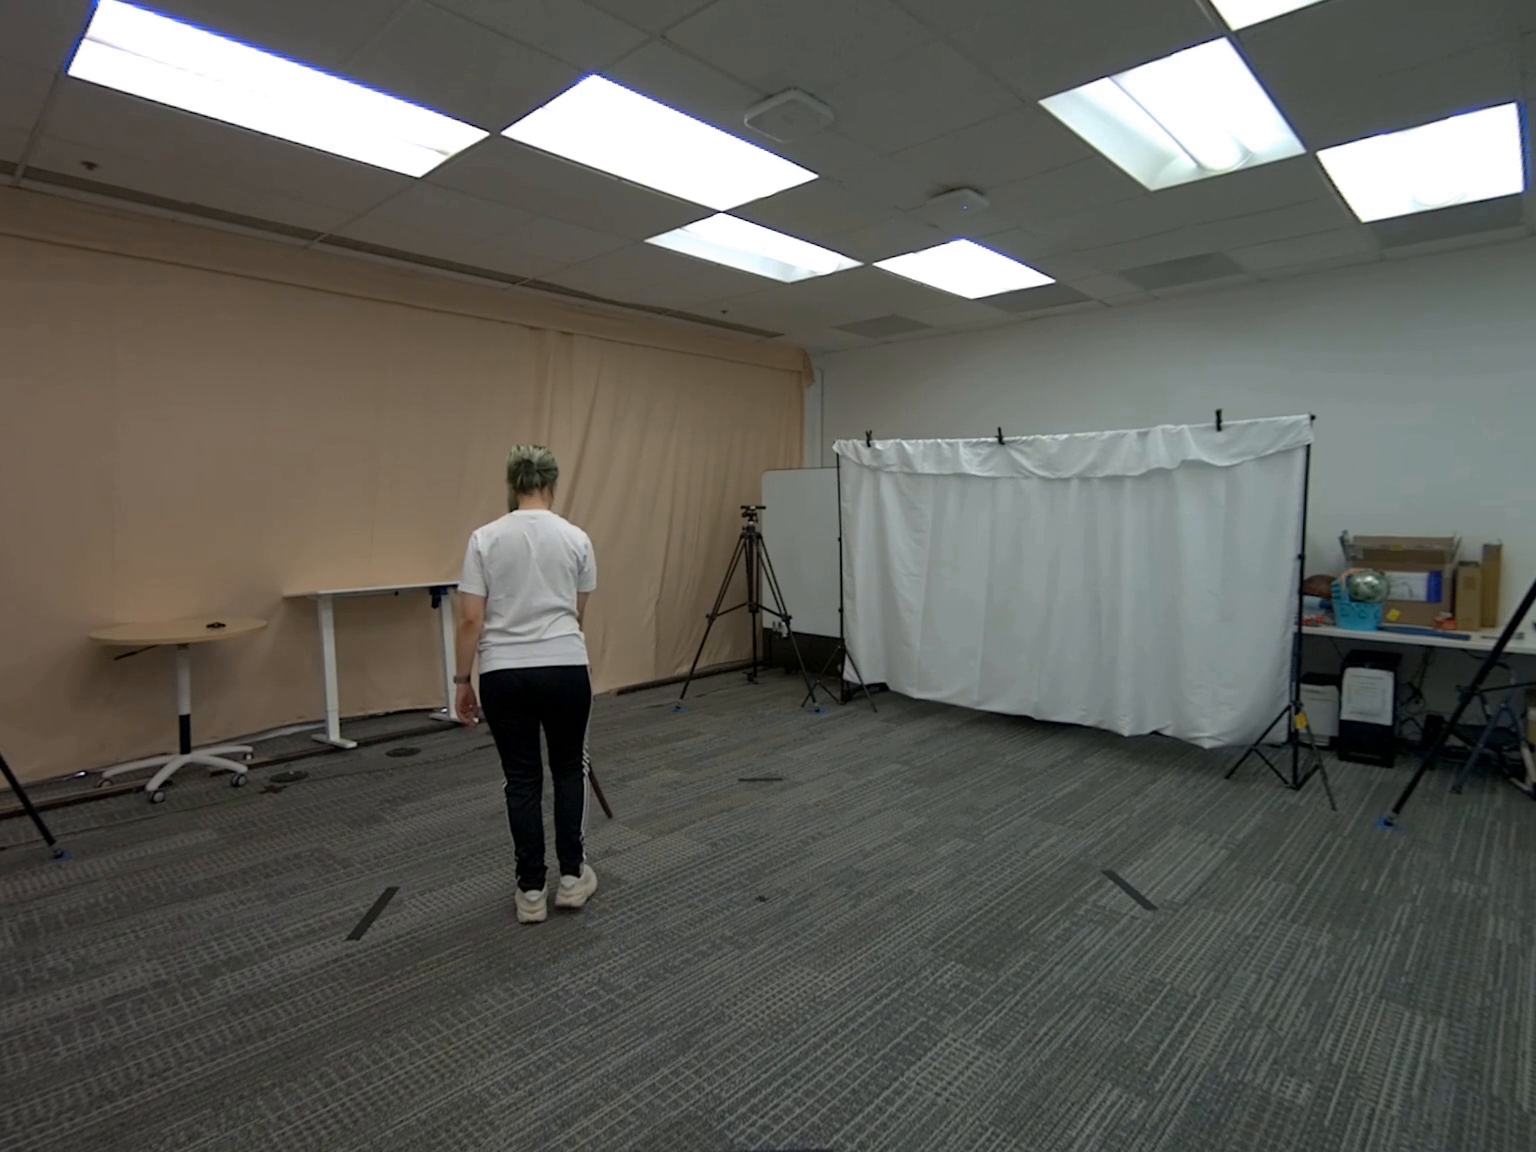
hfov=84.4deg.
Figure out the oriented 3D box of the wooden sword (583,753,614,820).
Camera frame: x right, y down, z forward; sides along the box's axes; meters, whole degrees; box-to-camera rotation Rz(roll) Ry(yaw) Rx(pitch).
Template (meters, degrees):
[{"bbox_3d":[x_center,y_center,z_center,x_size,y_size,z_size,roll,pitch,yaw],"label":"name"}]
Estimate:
[{"bbox_3d":[-0.762,0.737,3.440,0.052,1.001,0.024,15,49,20],"label":"wooden sword"}]
